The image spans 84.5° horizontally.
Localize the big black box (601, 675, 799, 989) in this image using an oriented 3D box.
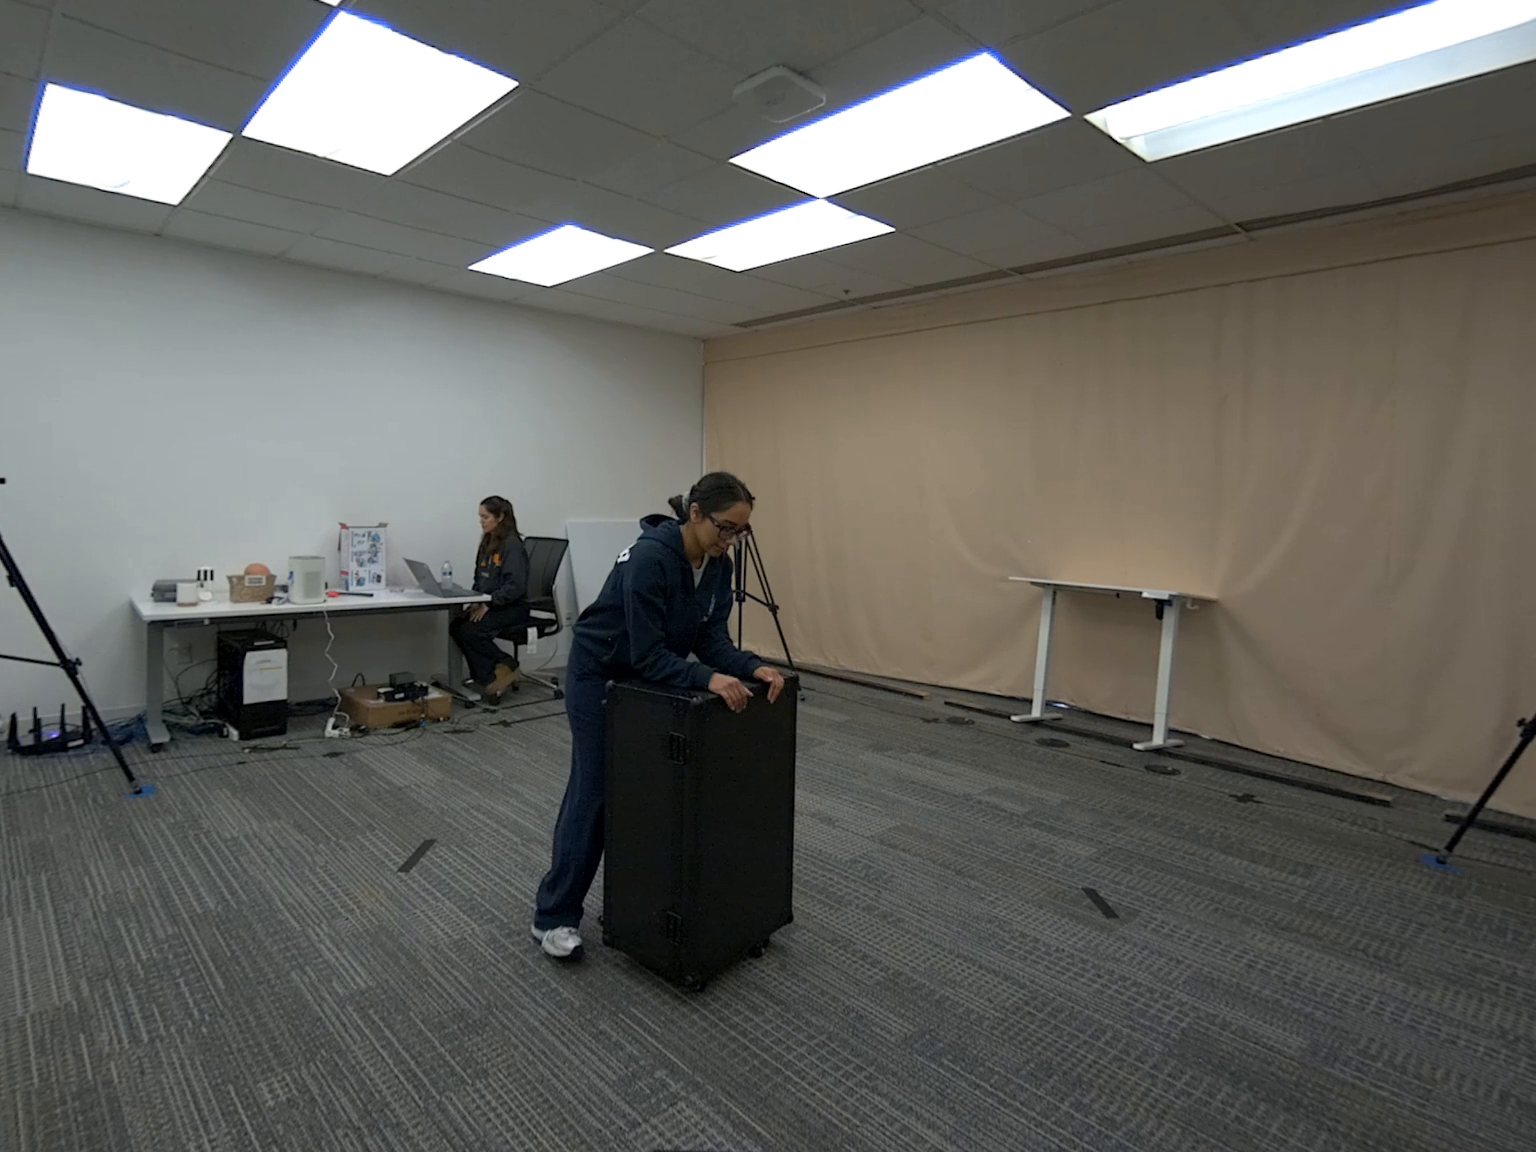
[{"bbox_3d":[-0.205,0.731,2.541,0.406,0.860,0.510,3,4,36],"label":"big black box"}]
